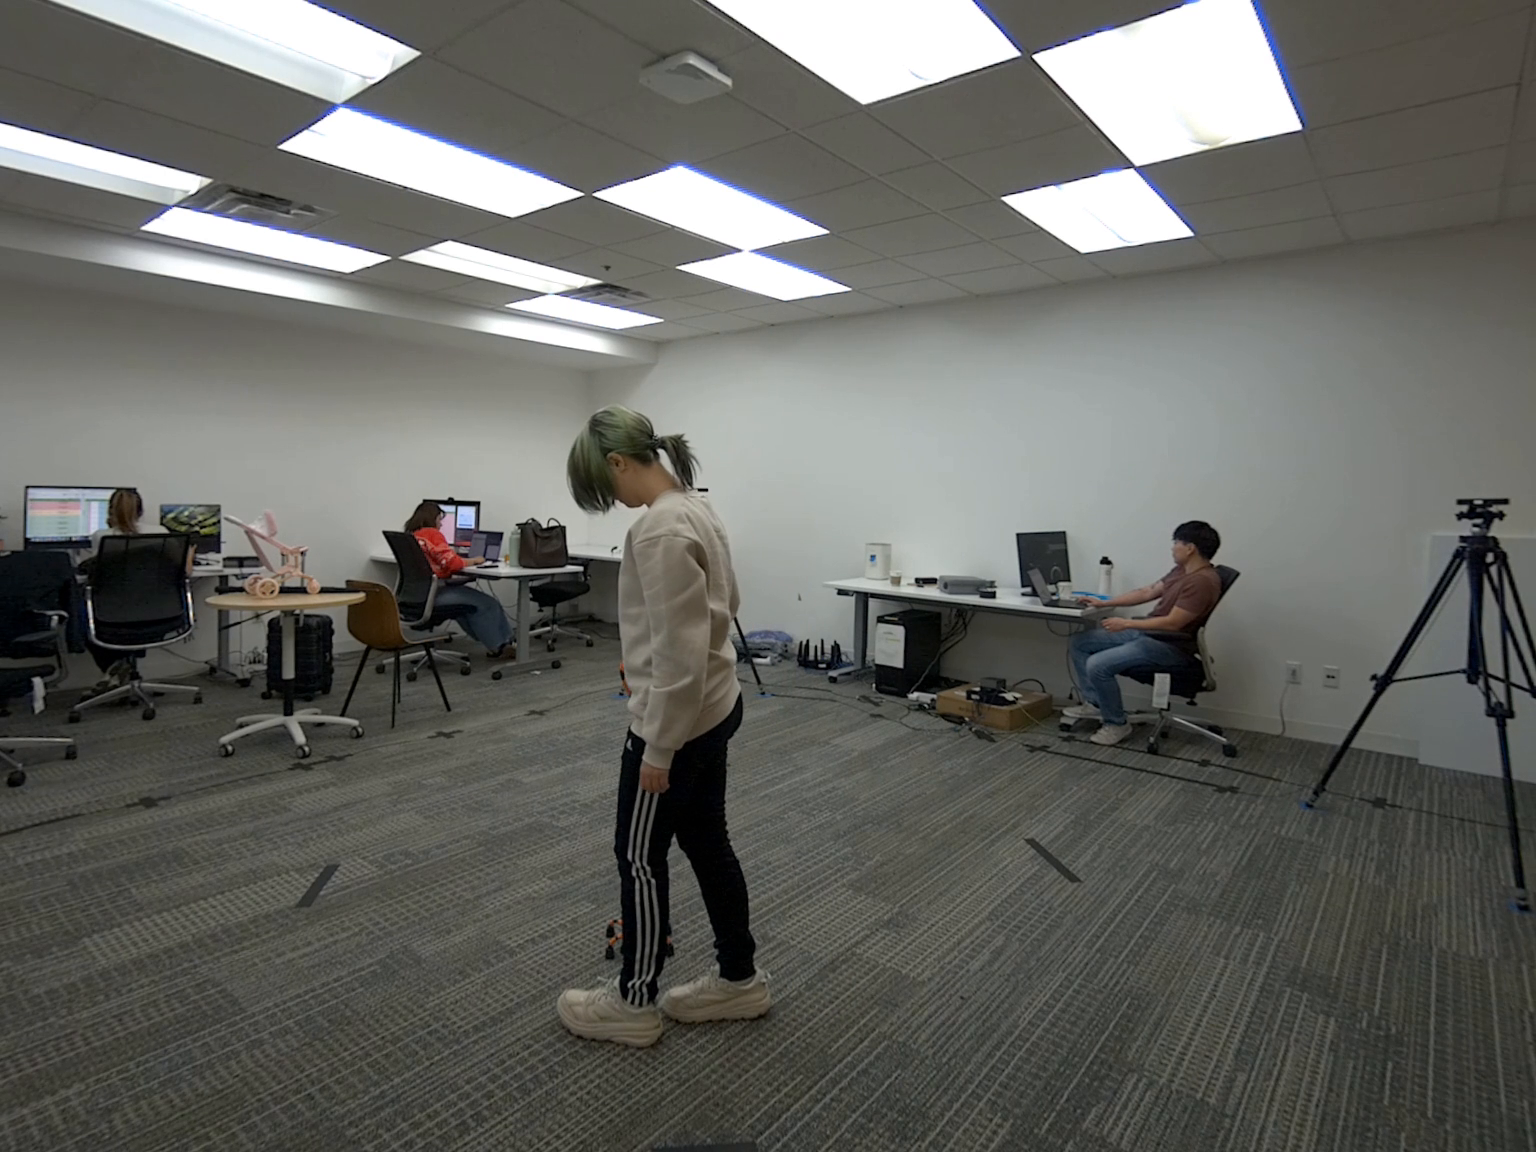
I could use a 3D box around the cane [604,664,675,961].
[{"bbox_3d":[-0.385,0.665,2.563,0.204,0.906,0.153,1,2,-10],"label":"cane"}]
